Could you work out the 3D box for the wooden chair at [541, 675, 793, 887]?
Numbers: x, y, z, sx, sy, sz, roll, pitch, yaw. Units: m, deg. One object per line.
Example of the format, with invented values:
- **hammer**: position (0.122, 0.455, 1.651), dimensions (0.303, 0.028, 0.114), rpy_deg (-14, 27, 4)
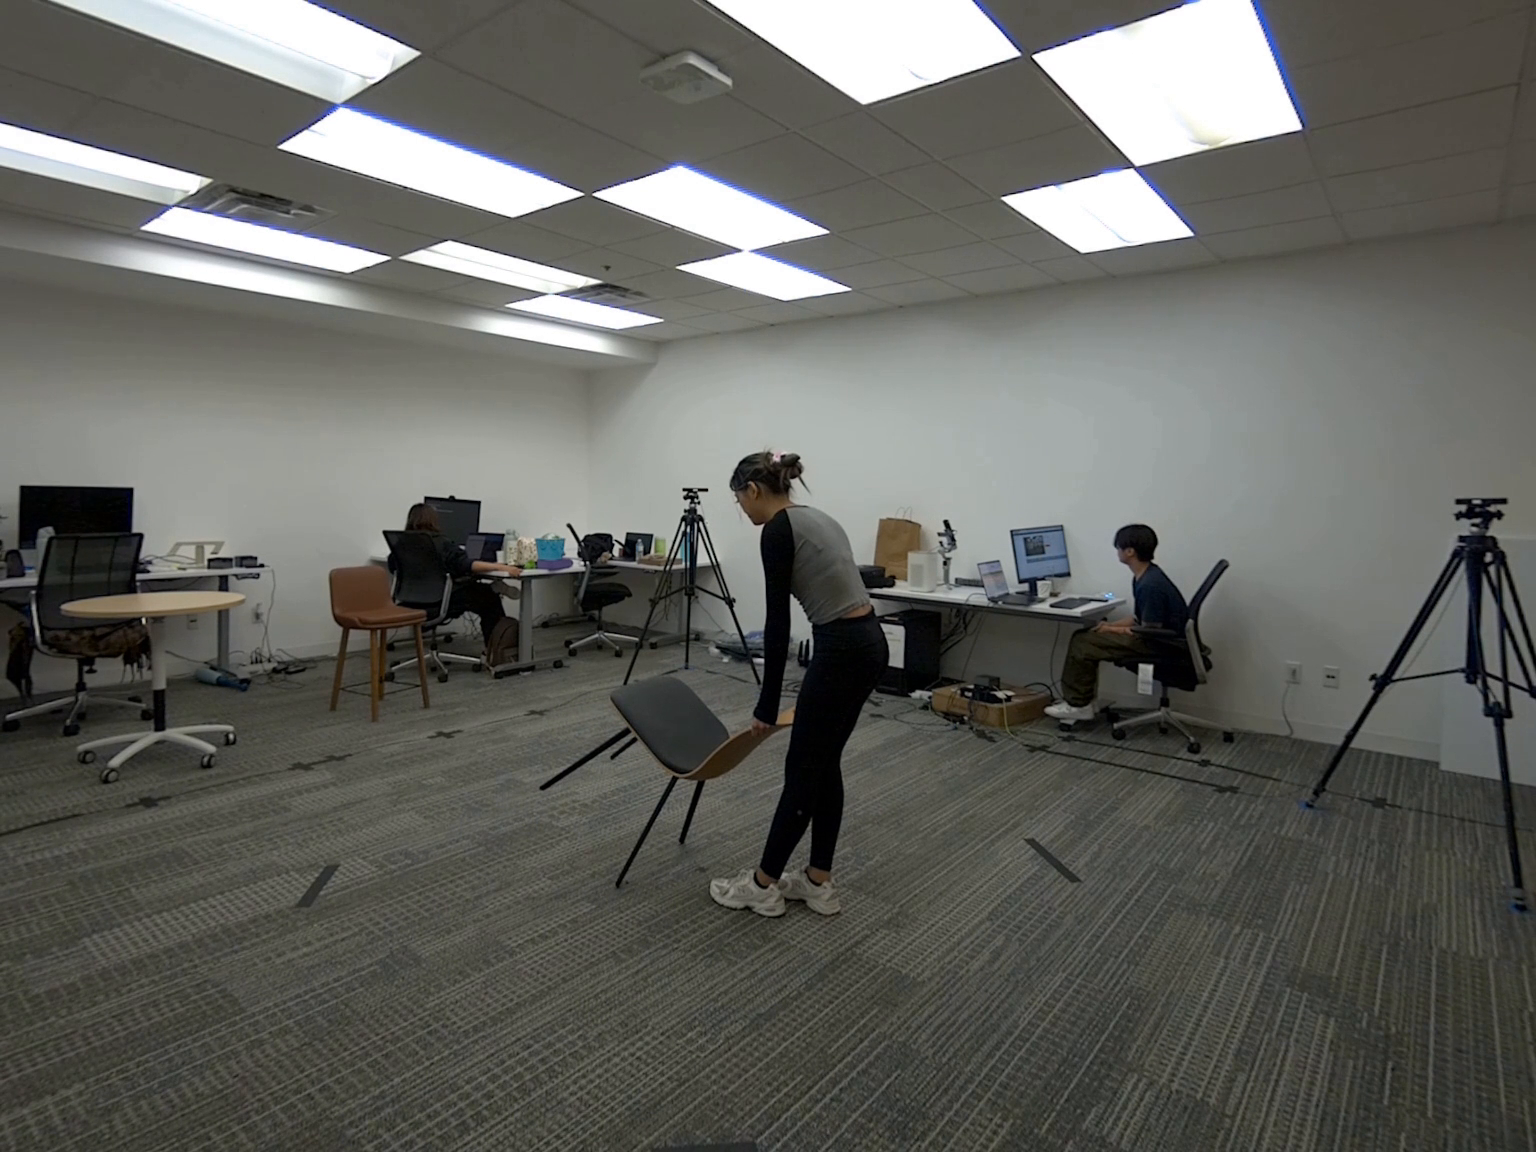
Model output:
- **wooden chair**: position (-0.345, 0.592, 3.078), dimensions (0.537, 0.877, 0.466), rpy_deg (50, 22, 17)
